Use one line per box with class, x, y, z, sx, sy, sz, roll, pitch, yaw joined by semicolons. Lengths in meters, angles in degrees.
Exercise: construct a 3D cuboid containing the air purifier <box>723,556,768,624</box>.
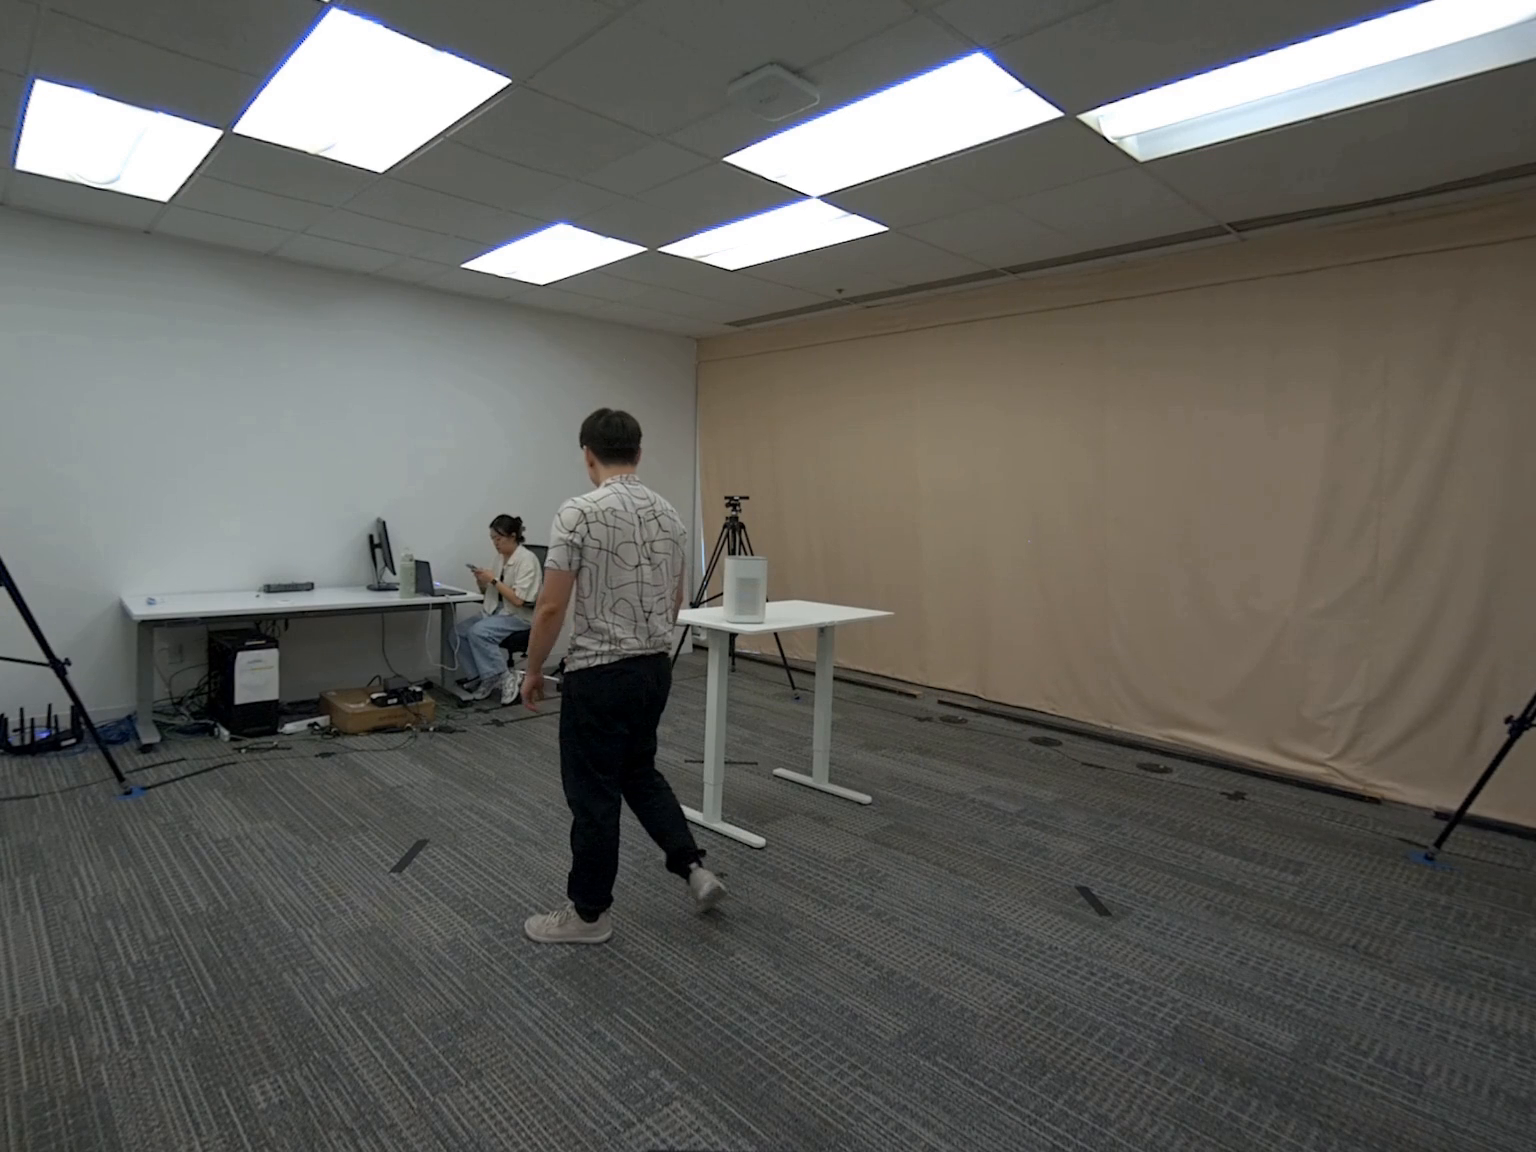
air purifier;-0.107;0.055;3.469;0.171;0.265;0.172;2;4;-5
